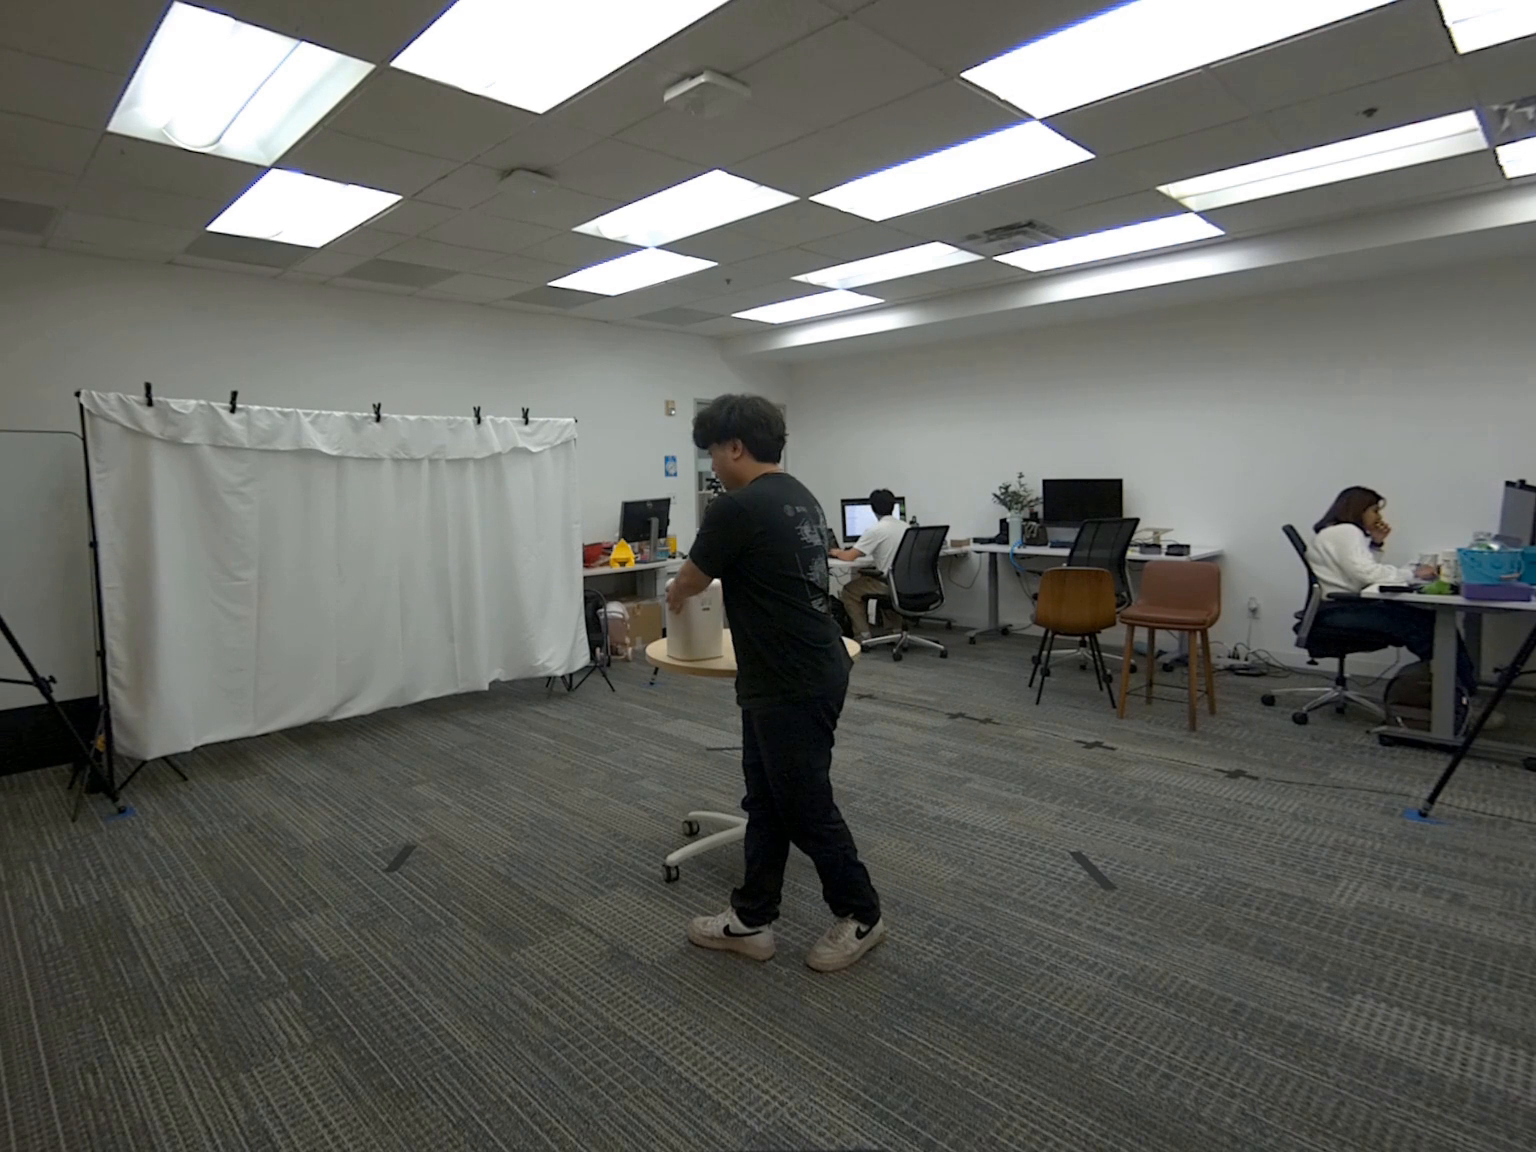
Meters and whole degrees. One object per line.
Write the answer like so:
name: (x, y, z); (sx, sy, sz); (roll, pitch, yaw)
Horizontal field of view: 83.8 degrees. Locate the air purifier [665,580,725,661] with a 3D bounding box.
air purifier: (-0.246, 0.141, 2.920); (0.167, 0.264, 0.176); (-4, 5, -29)
